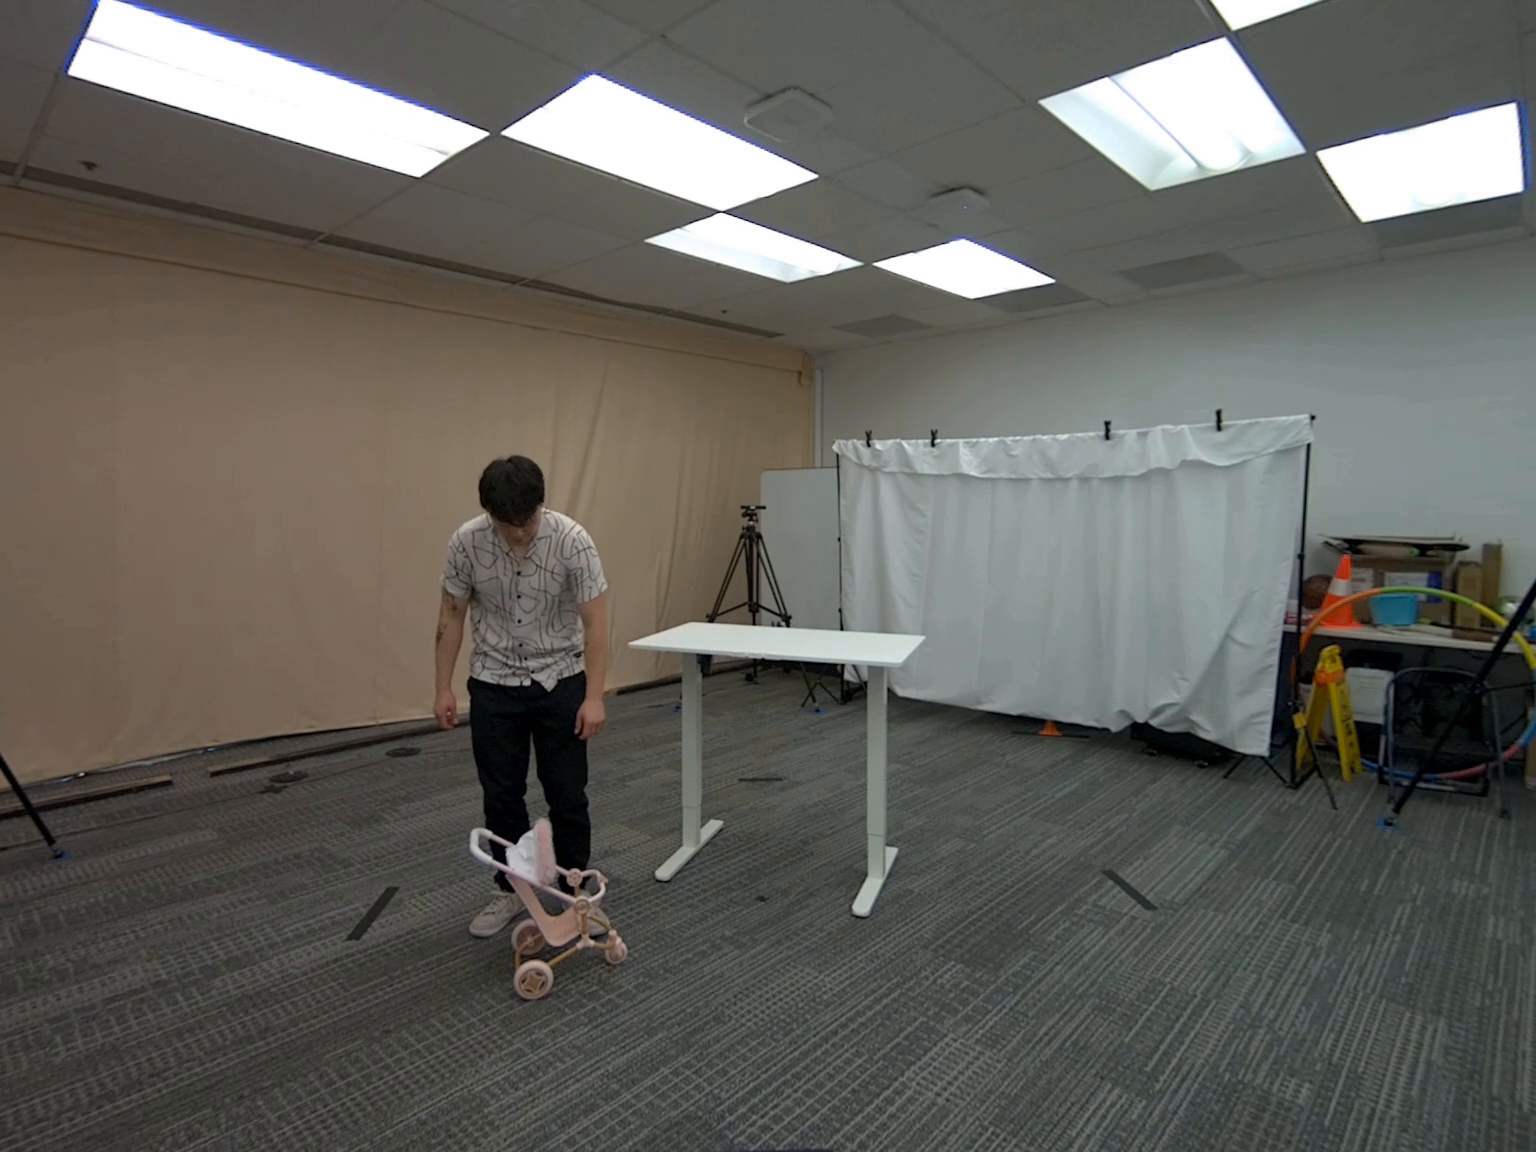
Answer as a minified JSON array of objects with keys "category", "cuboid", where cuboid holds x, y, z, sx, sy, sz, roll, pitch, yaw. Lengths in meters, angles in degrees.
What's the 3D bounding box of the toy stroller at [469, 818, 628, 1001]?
[{"category":"toy stroller","cuboid":[-0.640,0.964,2.498,0.338,0.532,0.286,-17,7,-11]}]
